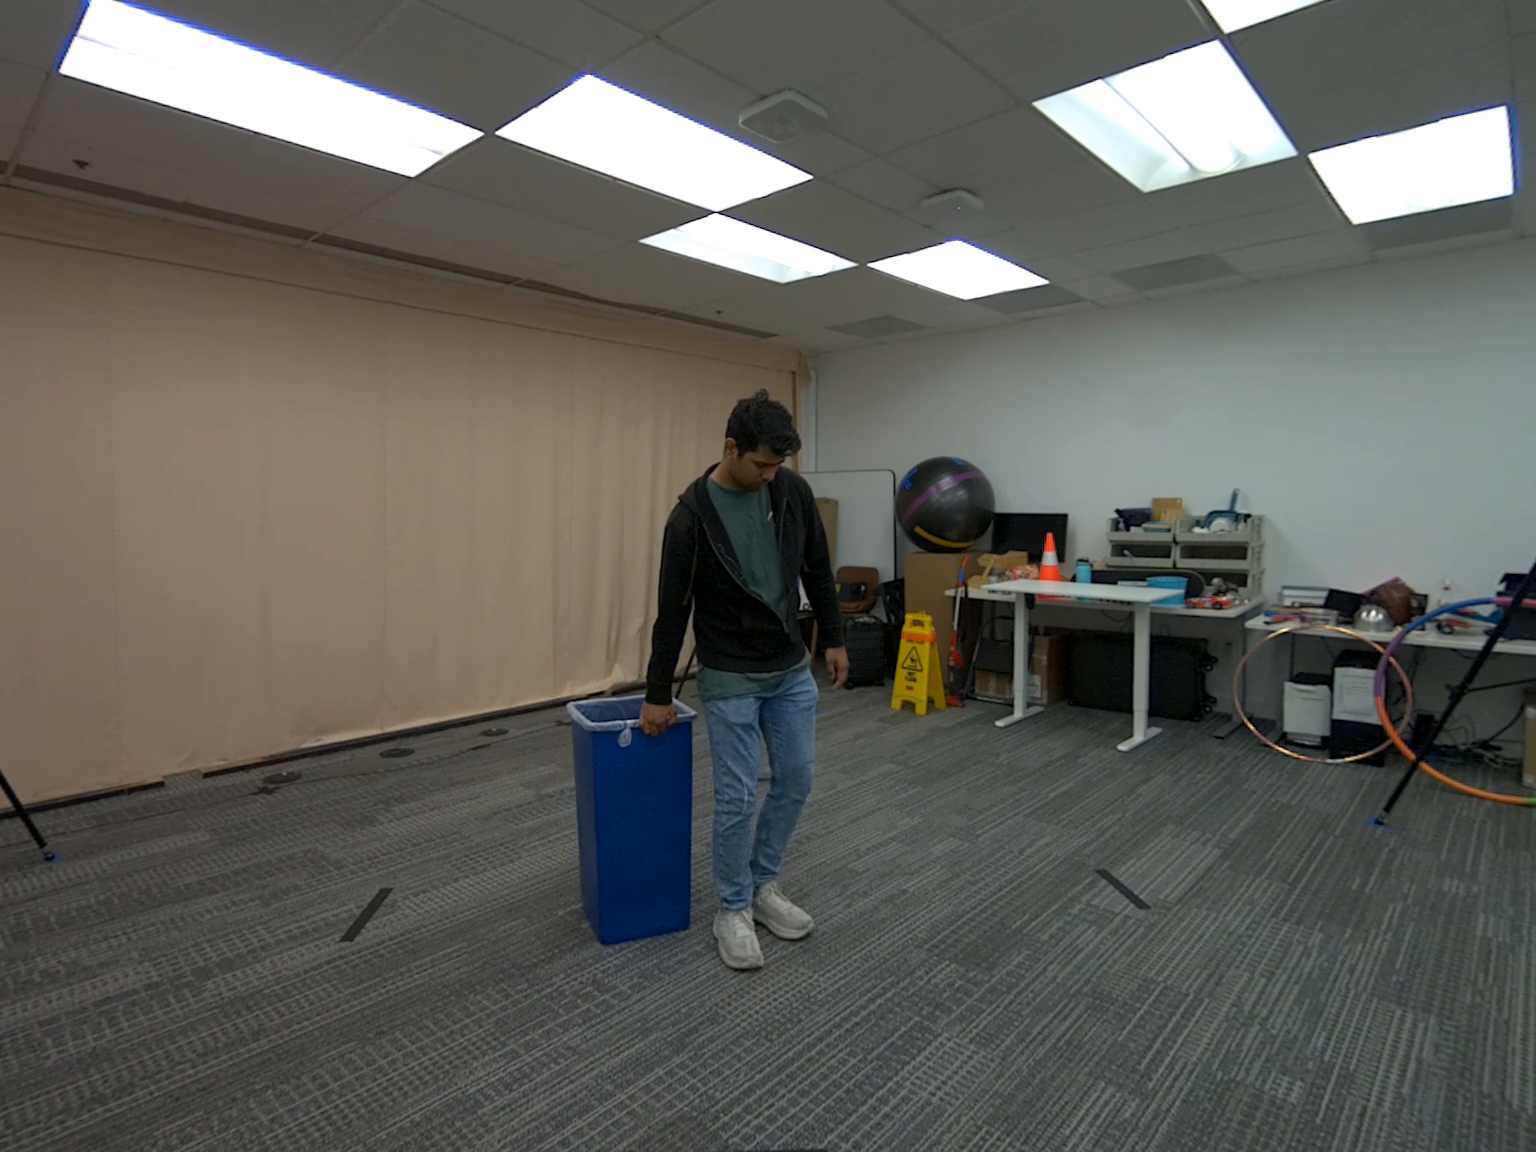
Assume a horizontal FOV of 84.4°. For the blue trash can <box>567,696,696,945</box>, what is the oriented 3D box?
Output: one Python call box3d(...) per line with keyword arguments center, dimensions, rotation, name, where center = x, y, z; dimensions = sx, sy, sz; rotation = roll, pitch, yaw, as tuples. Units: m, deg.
box3d(center=(-0.456, 0.798, 2.853), dimensions=(0.366, 0.712, 0.387), rotation=(-2, 3, -24), name="blue trash can")
